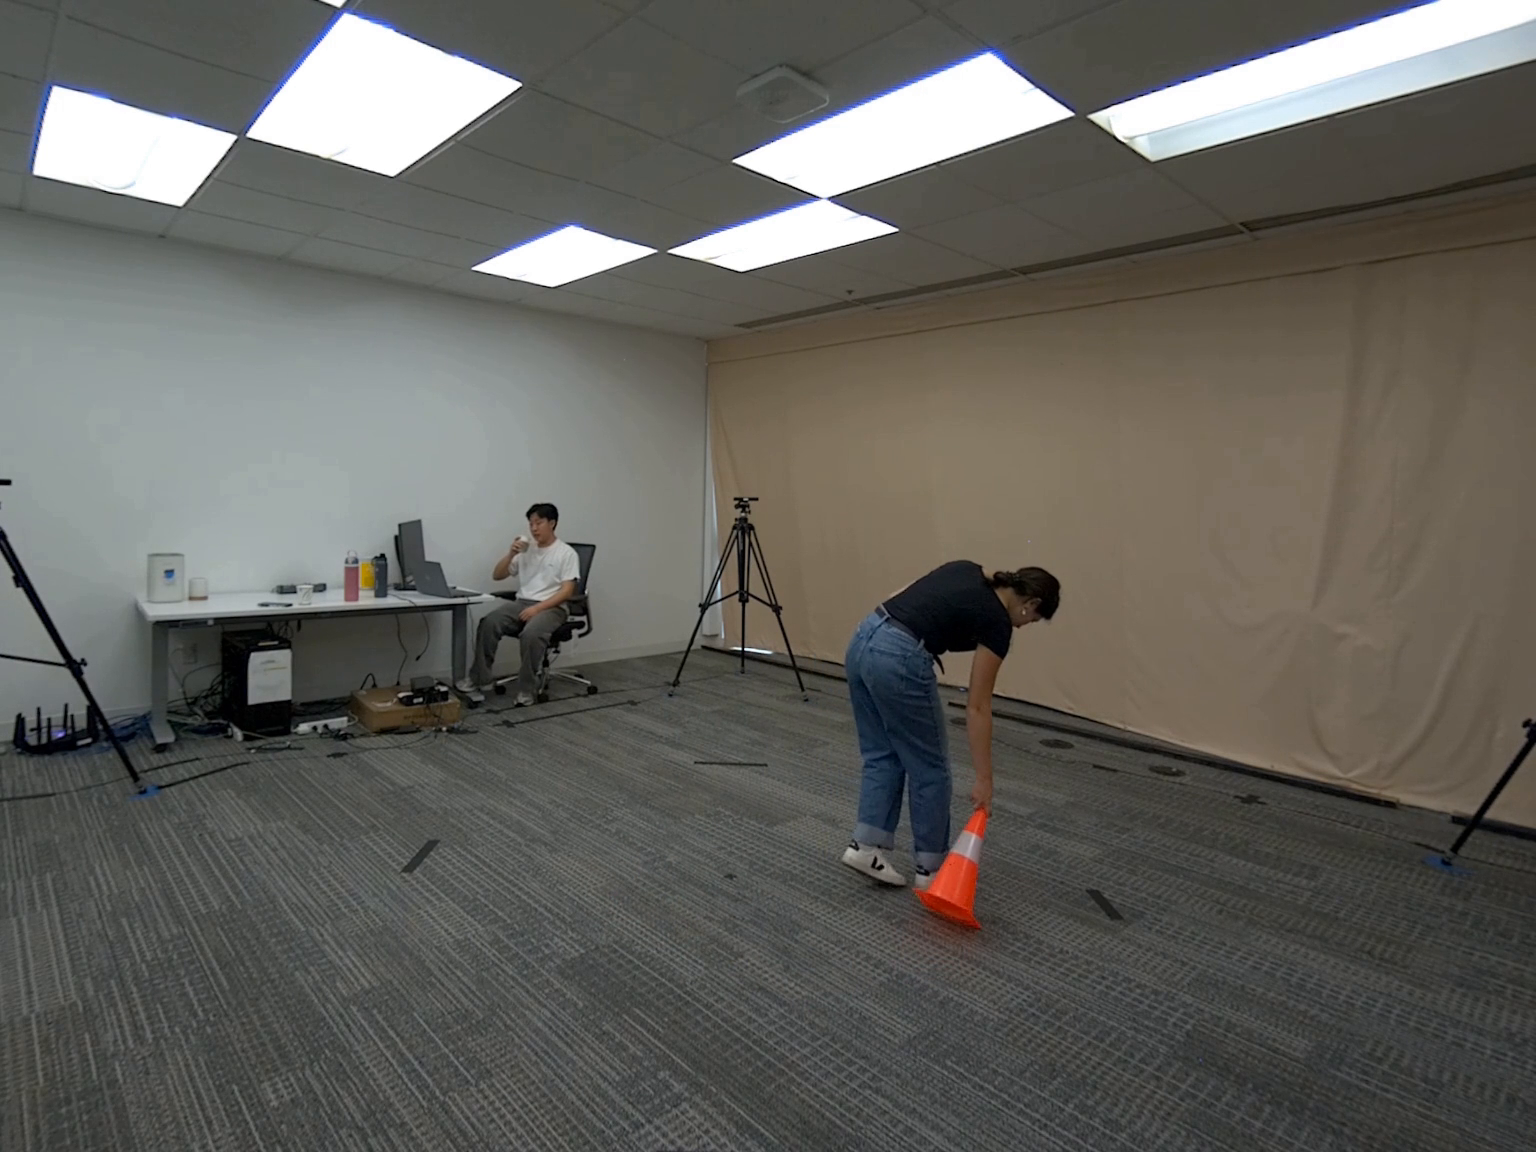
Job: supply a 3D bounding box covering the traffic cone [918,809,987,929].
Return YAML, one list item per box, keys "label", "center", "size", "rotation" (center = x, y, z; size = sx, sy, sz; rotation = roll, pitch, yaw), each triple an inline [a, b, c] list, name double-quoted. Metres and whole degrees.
- label: "traffic cone"
  center: [0.665, 0.948, 2.836]
  size: [0.207, 0.386, 0.199]
  rotation: [16, -28, 21]
